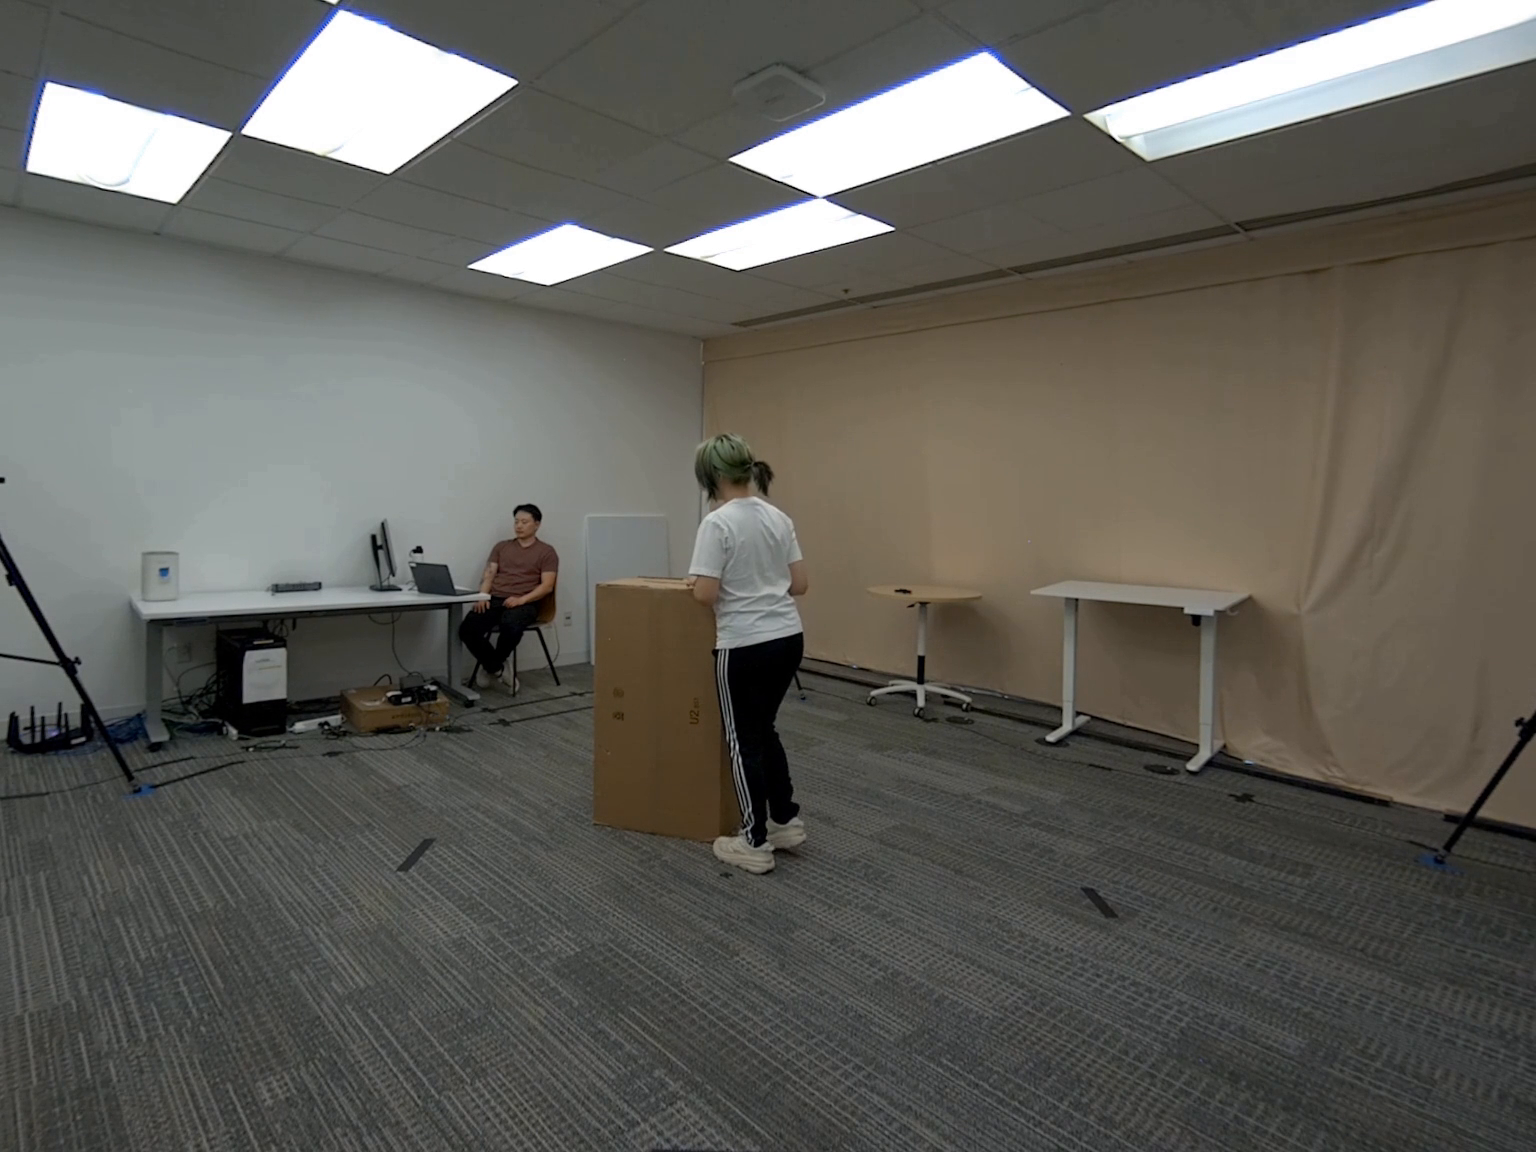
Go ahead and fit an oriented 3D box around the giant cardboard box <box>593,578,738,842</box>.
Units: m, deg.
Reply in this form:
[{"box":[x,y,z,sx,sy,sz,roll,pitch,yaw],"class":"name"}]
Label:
[{"box":[-0.406,0.540,3.646,0.592,1.024,0.441,3,4,18],"class":"giant cardboard box"}]
